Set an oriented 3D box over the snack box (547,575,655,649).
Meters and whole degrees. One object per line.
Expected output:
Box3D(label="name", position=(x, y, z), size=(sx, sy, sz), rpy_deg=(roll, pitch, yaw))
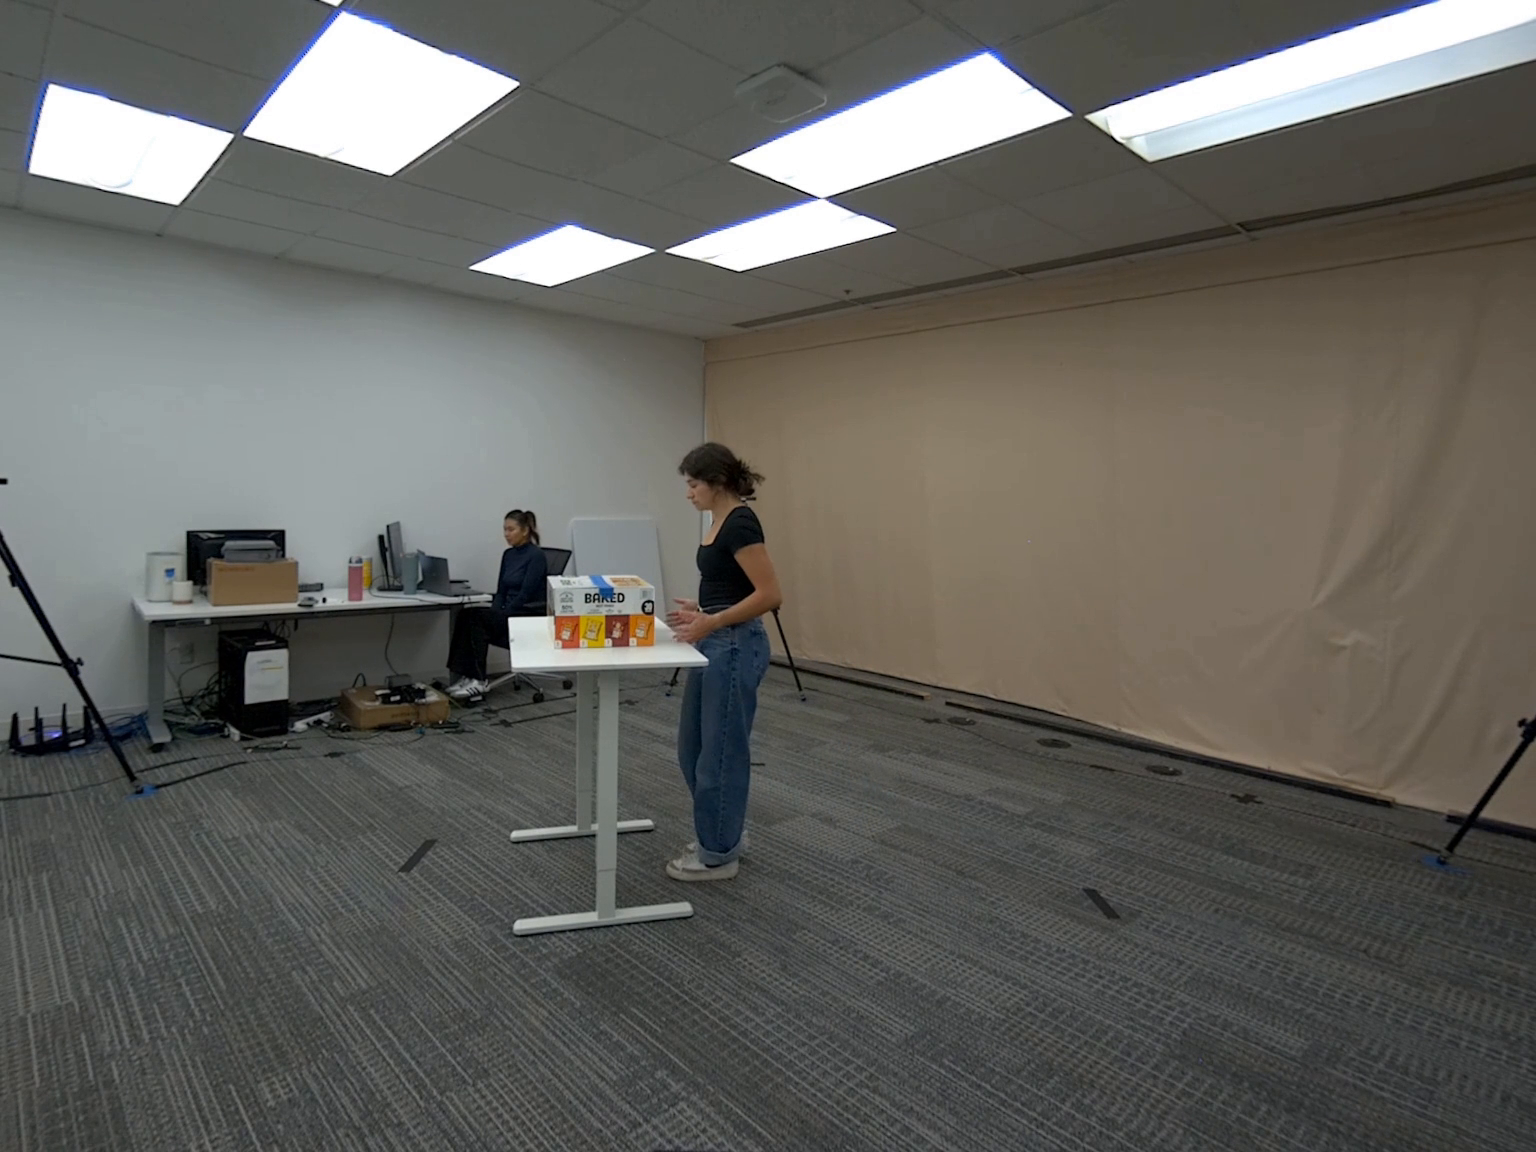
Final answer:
Box3D(label="snack box", position=(-0.611, 0.120, 3.023), size=(0.336, 0.205, 0.411), rpy_deg=(0, 5, -17))
